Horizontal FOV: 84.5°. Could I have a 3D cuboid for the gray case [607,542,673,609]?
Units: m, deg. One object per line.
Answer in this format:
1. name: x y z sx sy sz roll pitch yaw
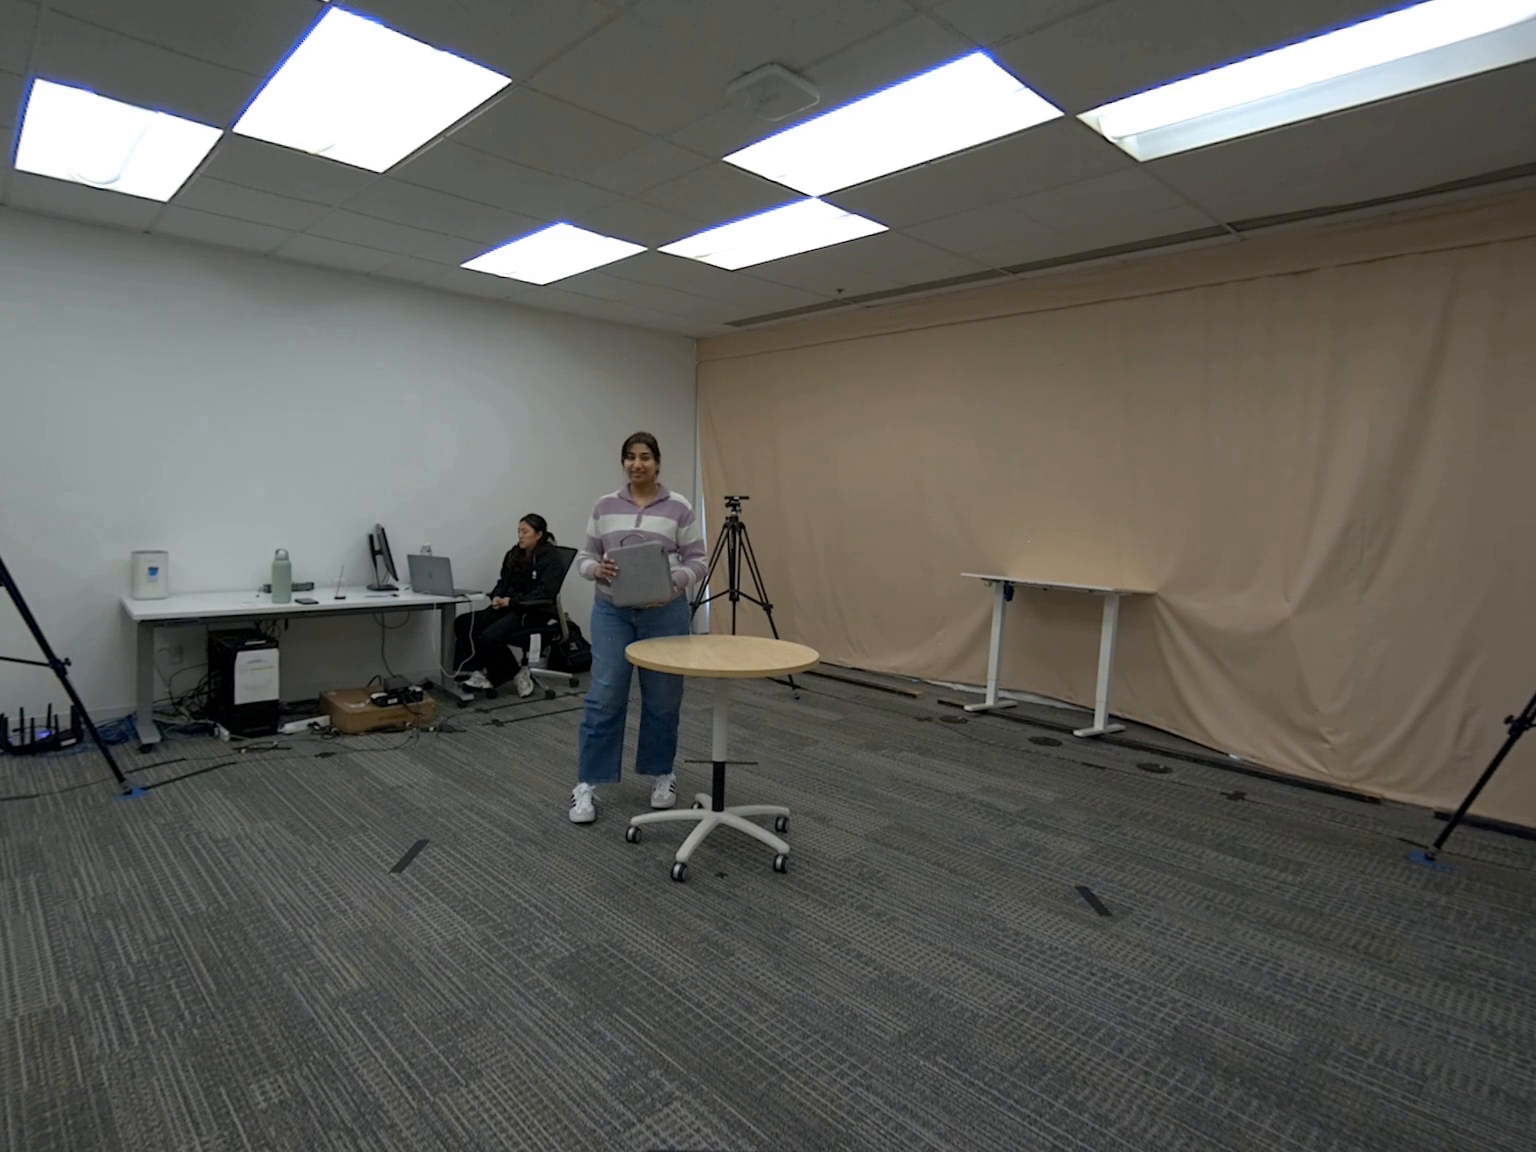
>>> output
1. gray case: -0.538 -0.013 3.507 0.260 0.260 0.103 -9 0 16
